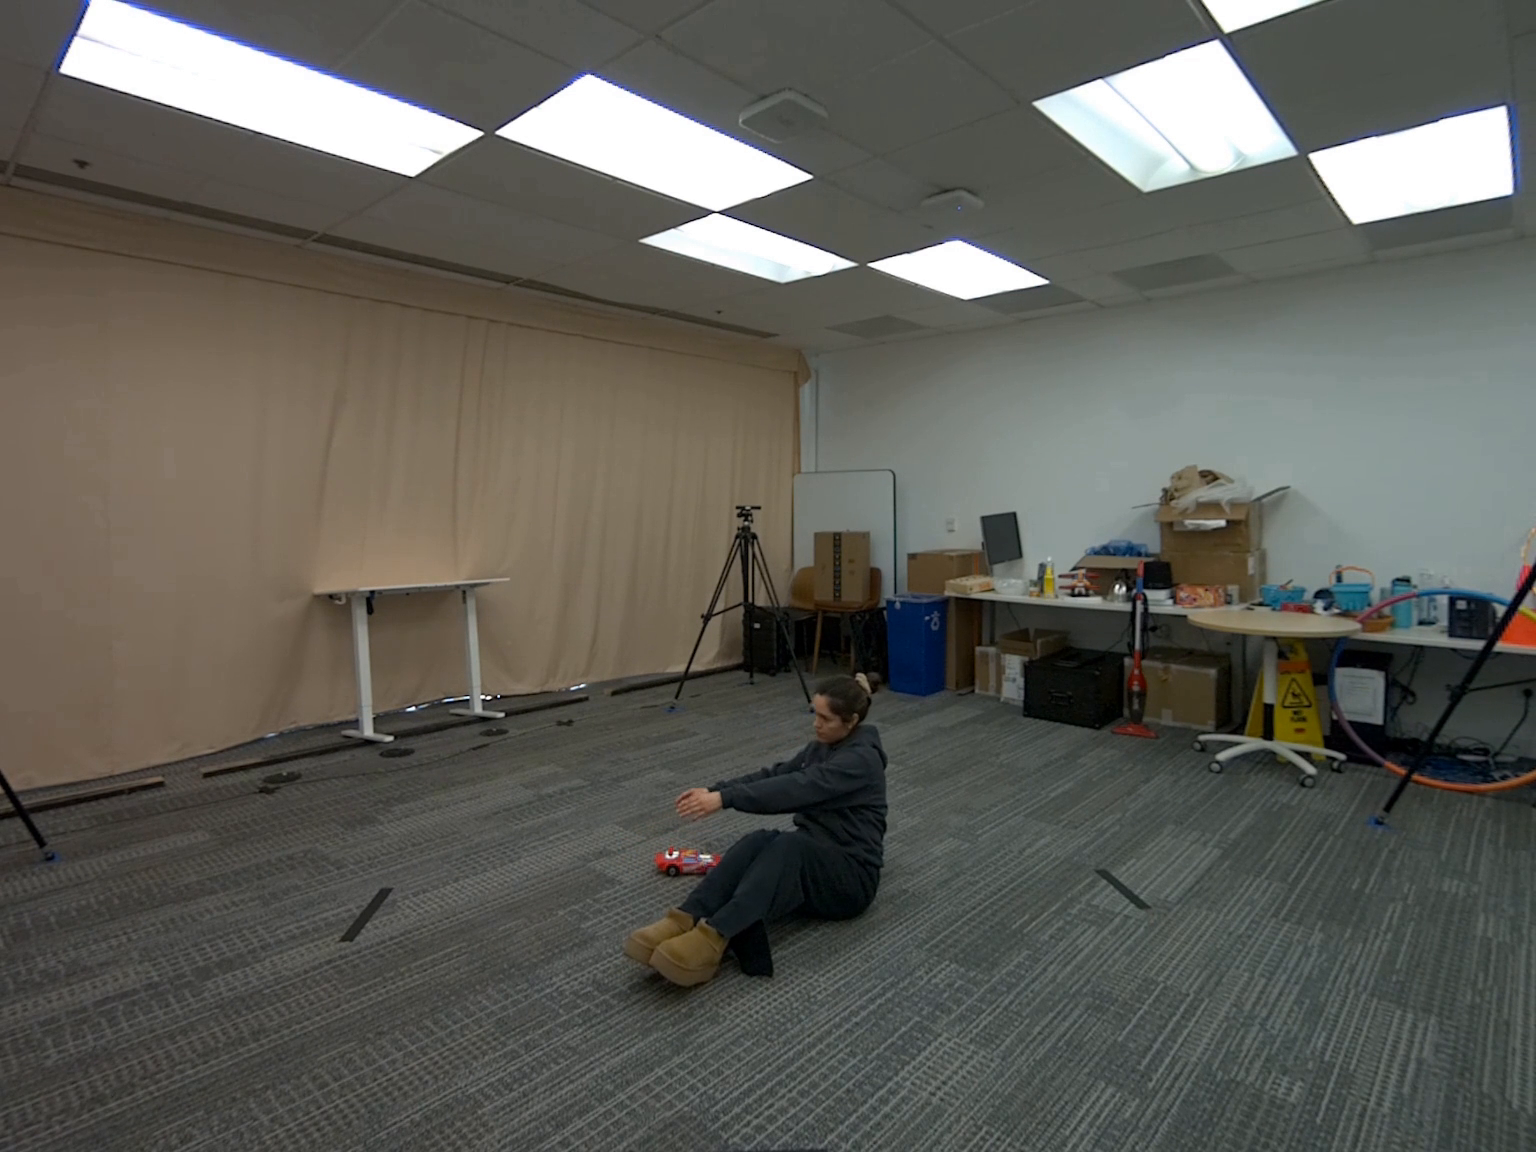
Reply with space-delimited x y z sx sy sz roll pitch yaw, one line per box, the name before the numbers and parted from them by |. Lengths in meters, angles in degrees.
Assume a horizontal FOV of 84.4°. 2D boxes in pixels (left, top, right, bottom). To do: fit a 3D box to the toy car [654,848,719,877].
toy car | -0.292 1.099 3.219 0.255 0.083 0.130 11 5 1
